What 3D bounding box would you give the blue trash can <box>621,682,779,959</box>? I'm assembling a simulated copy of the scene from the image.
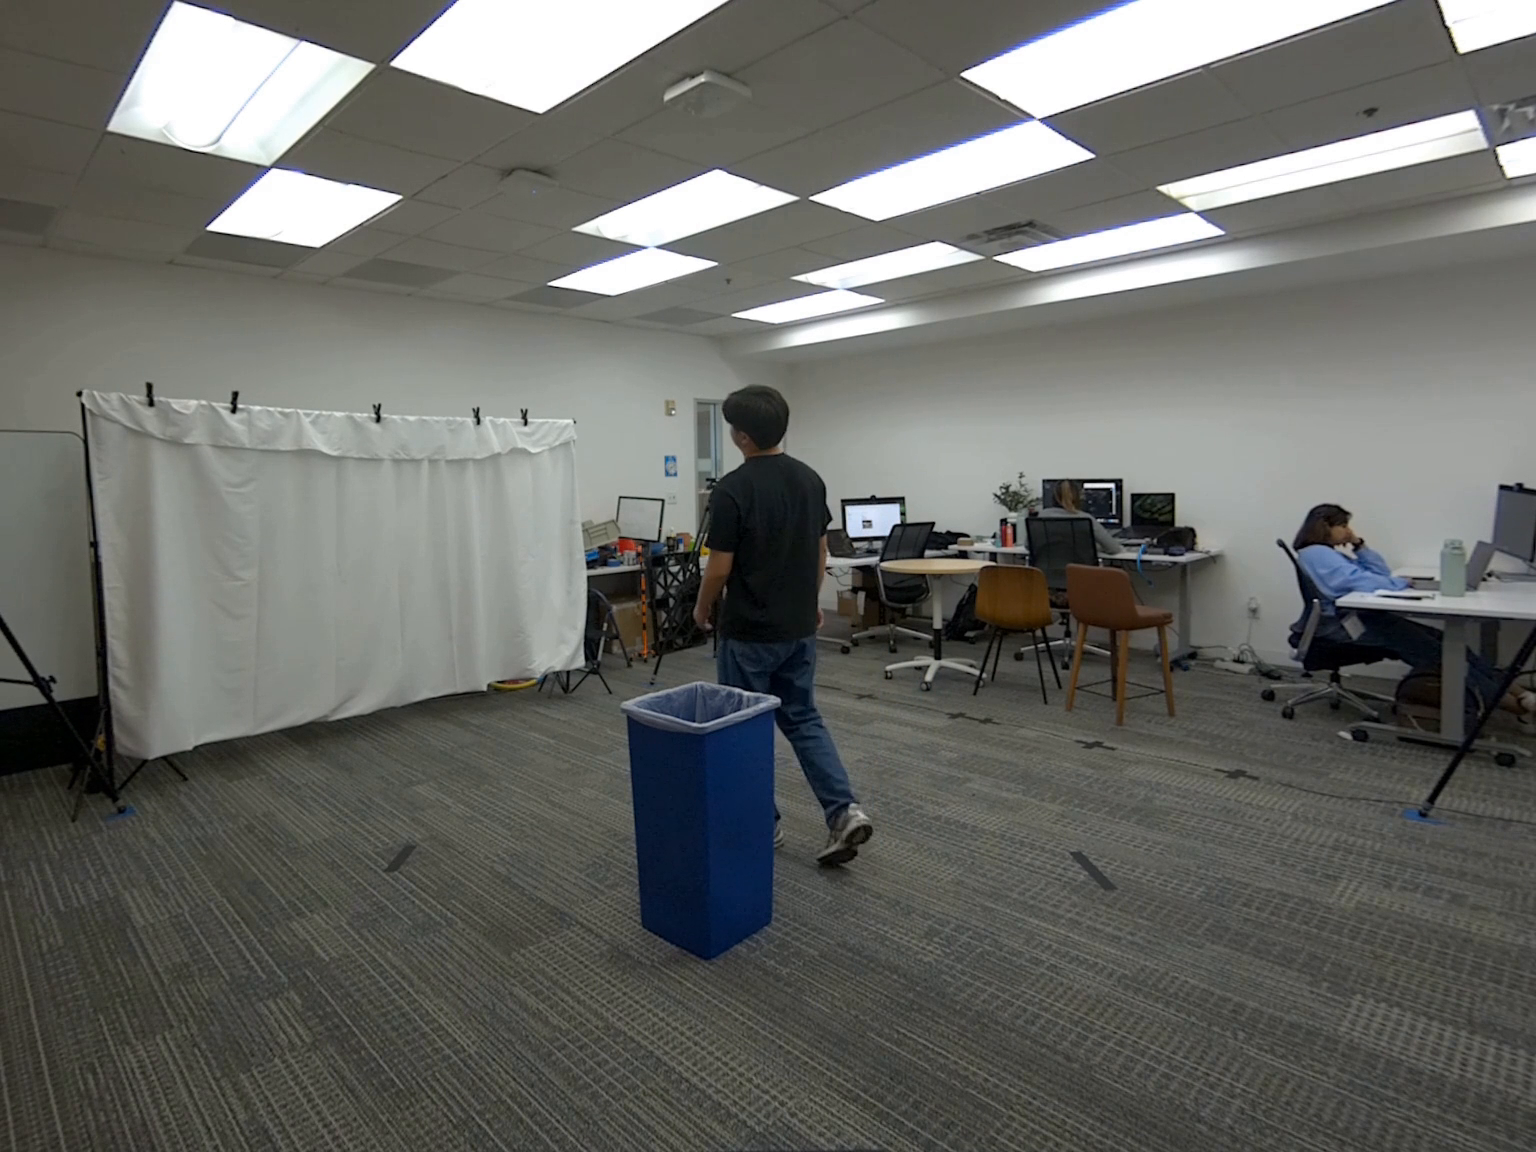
[{"bbox_3d":[-0.198,0.740,2.655,0.389,0.711,0.364,2,5,41],"label":"blue trash can"}]
